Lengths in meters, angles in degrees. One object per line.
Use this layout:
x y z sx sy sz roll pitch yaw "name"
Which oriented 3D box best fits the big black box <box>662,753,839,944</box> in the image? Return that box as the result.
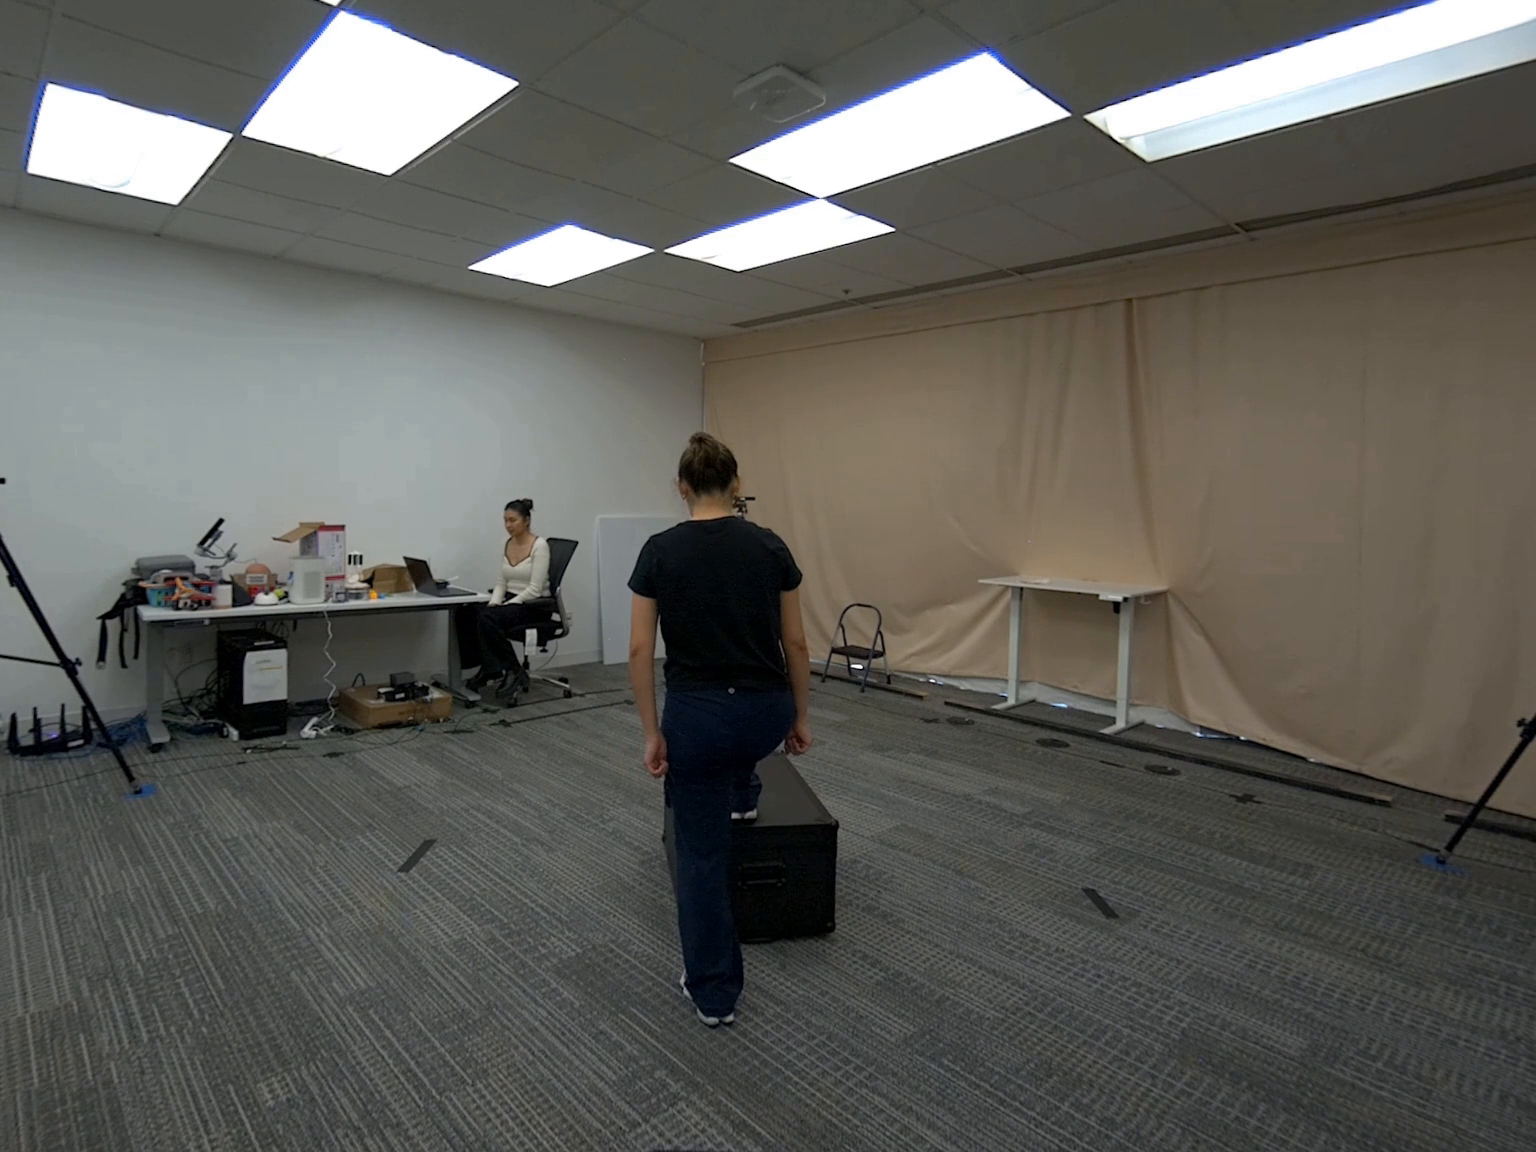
-0.107 0.920 3.018 0.516 0.395 0.872 1 5 -12 "big black box"
